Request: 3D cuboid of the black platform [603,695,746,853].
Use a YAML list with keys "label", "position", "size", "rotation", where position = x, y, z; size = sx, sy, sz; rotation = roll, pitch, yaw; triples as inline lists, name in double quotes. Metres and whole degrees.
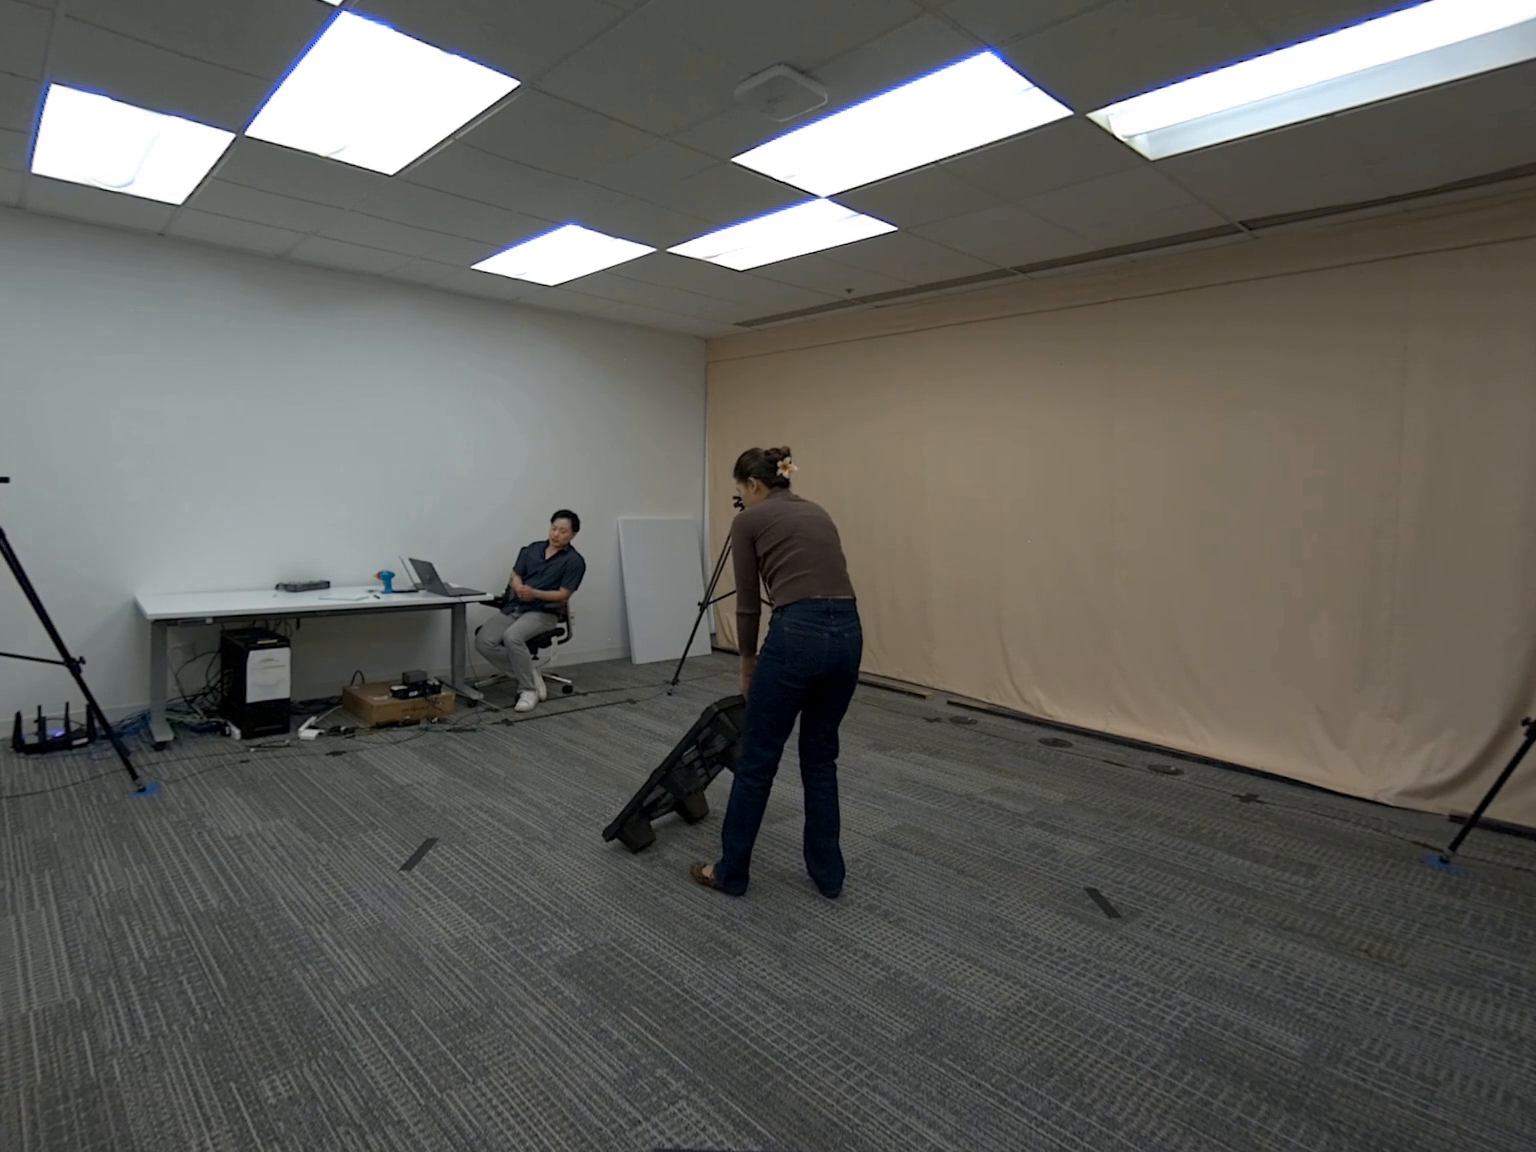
- label: "black platform"
  position: [-0.239, 0.754, 3.337]
  size: [0.146, 0.803, 0.593]
  rotation: [47, 25, 20]
